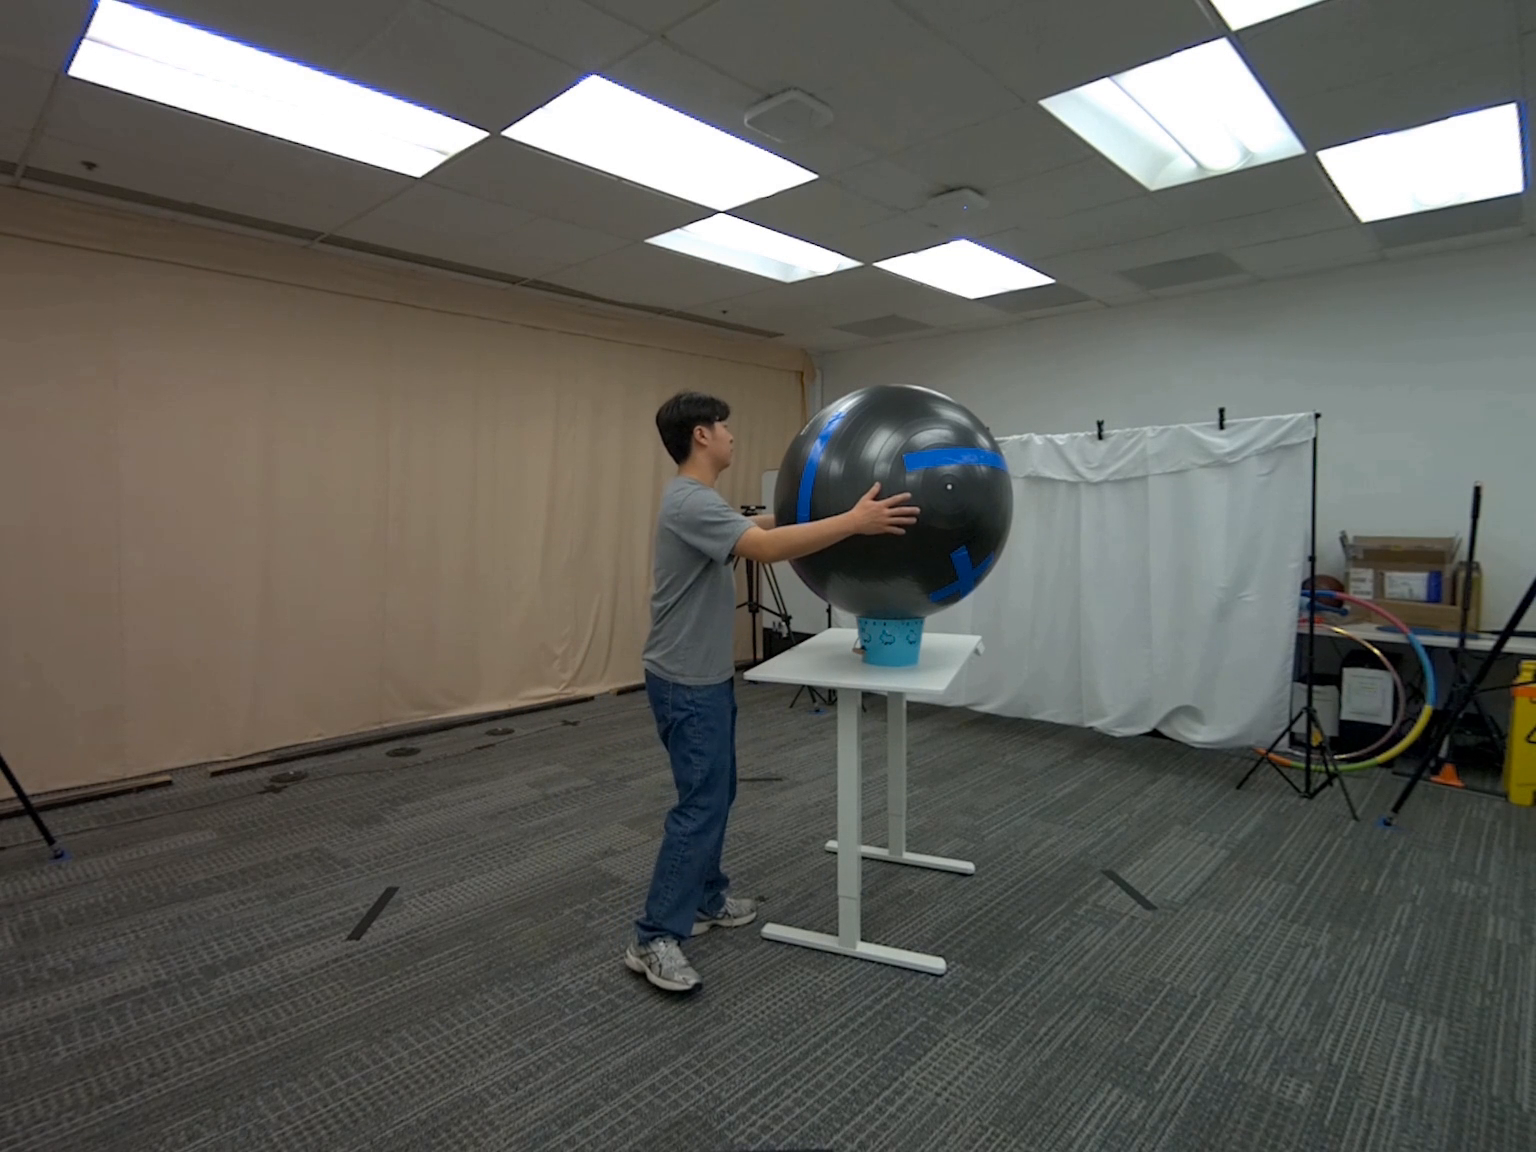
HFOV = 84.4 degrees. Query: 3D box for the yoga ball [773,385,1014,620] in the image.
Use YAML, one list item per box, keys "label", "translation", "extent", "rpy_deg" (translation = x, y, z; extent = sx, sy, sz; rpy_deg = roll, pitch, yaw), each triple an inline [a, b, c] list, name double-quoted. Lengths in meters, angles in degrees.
- label: "yoga ball"
  translation: [0.404, -0.232, 2.737]
  extent: [0.757, 0.756, 0.760]
  rpy_deg: [0, 4, -2]
